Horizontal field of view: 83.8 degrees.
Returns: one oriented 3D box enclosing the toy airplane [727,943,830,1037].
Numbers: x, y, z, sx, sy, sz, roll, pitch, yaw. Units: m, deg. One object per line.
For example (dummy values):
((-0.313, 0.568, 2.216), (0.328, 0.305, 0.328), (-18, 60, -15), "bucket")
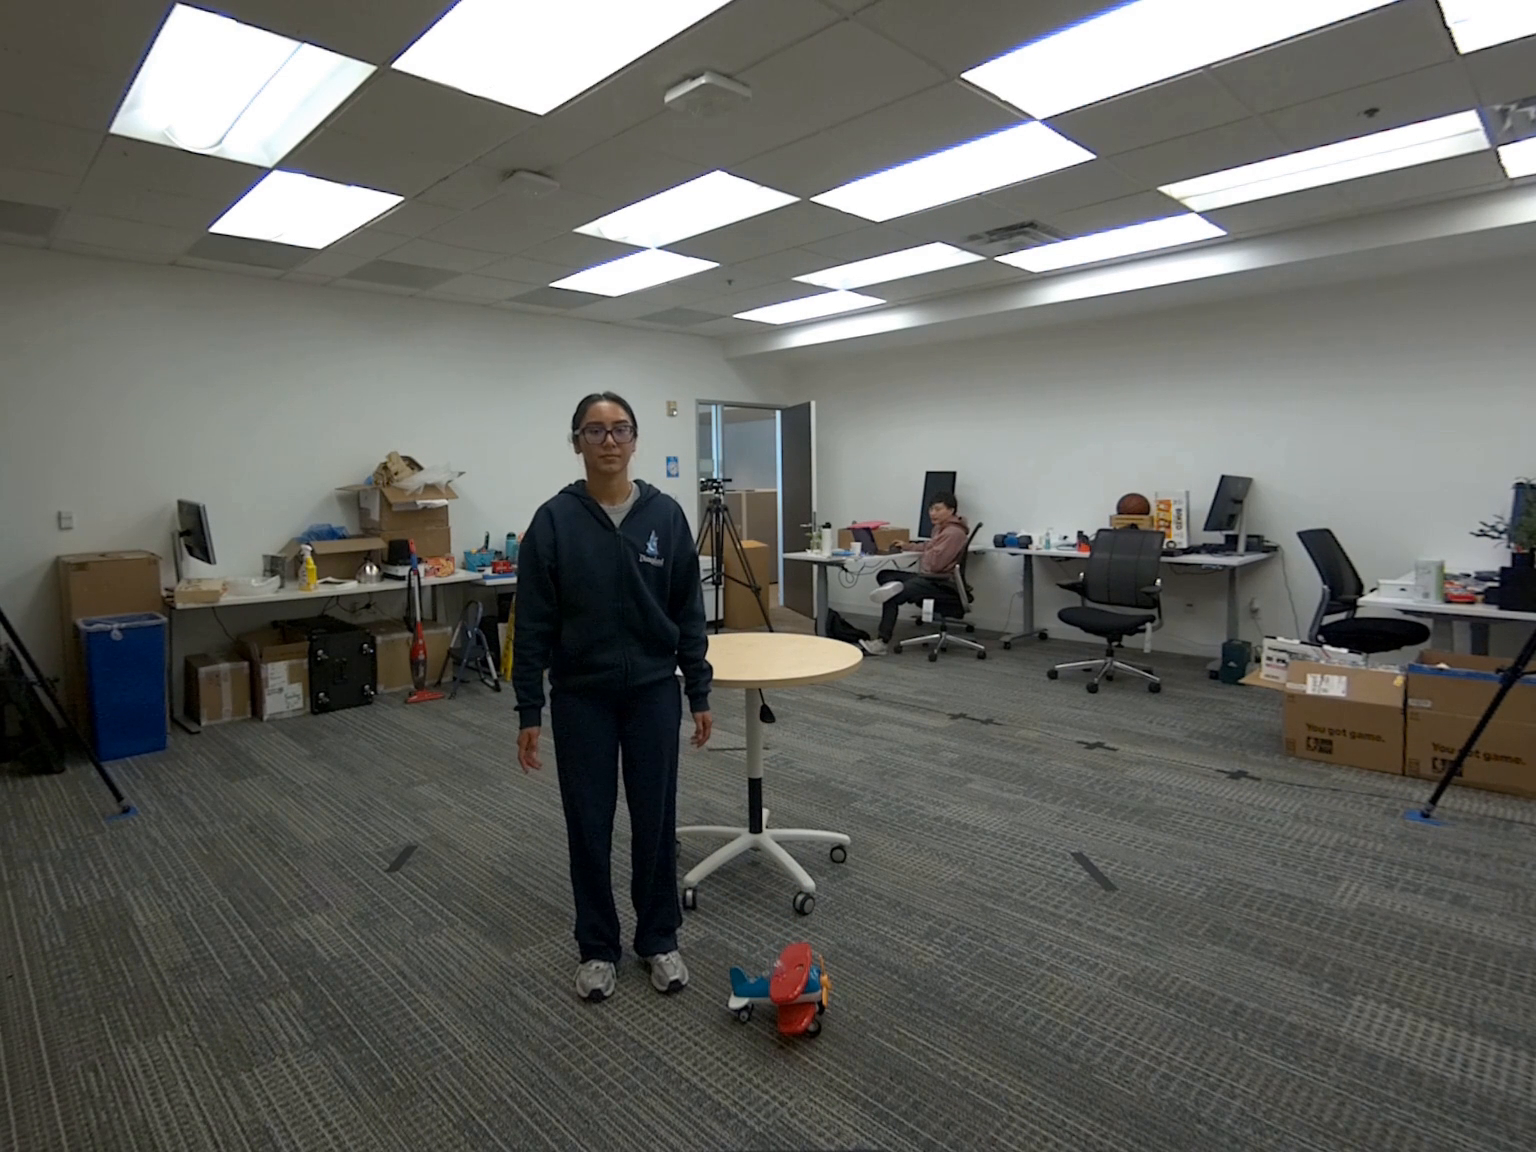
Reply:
((0.030, 1.068, 2.188), (0.255, 0.156, 0.256), (-3, 6, -16), "toy airplane")
